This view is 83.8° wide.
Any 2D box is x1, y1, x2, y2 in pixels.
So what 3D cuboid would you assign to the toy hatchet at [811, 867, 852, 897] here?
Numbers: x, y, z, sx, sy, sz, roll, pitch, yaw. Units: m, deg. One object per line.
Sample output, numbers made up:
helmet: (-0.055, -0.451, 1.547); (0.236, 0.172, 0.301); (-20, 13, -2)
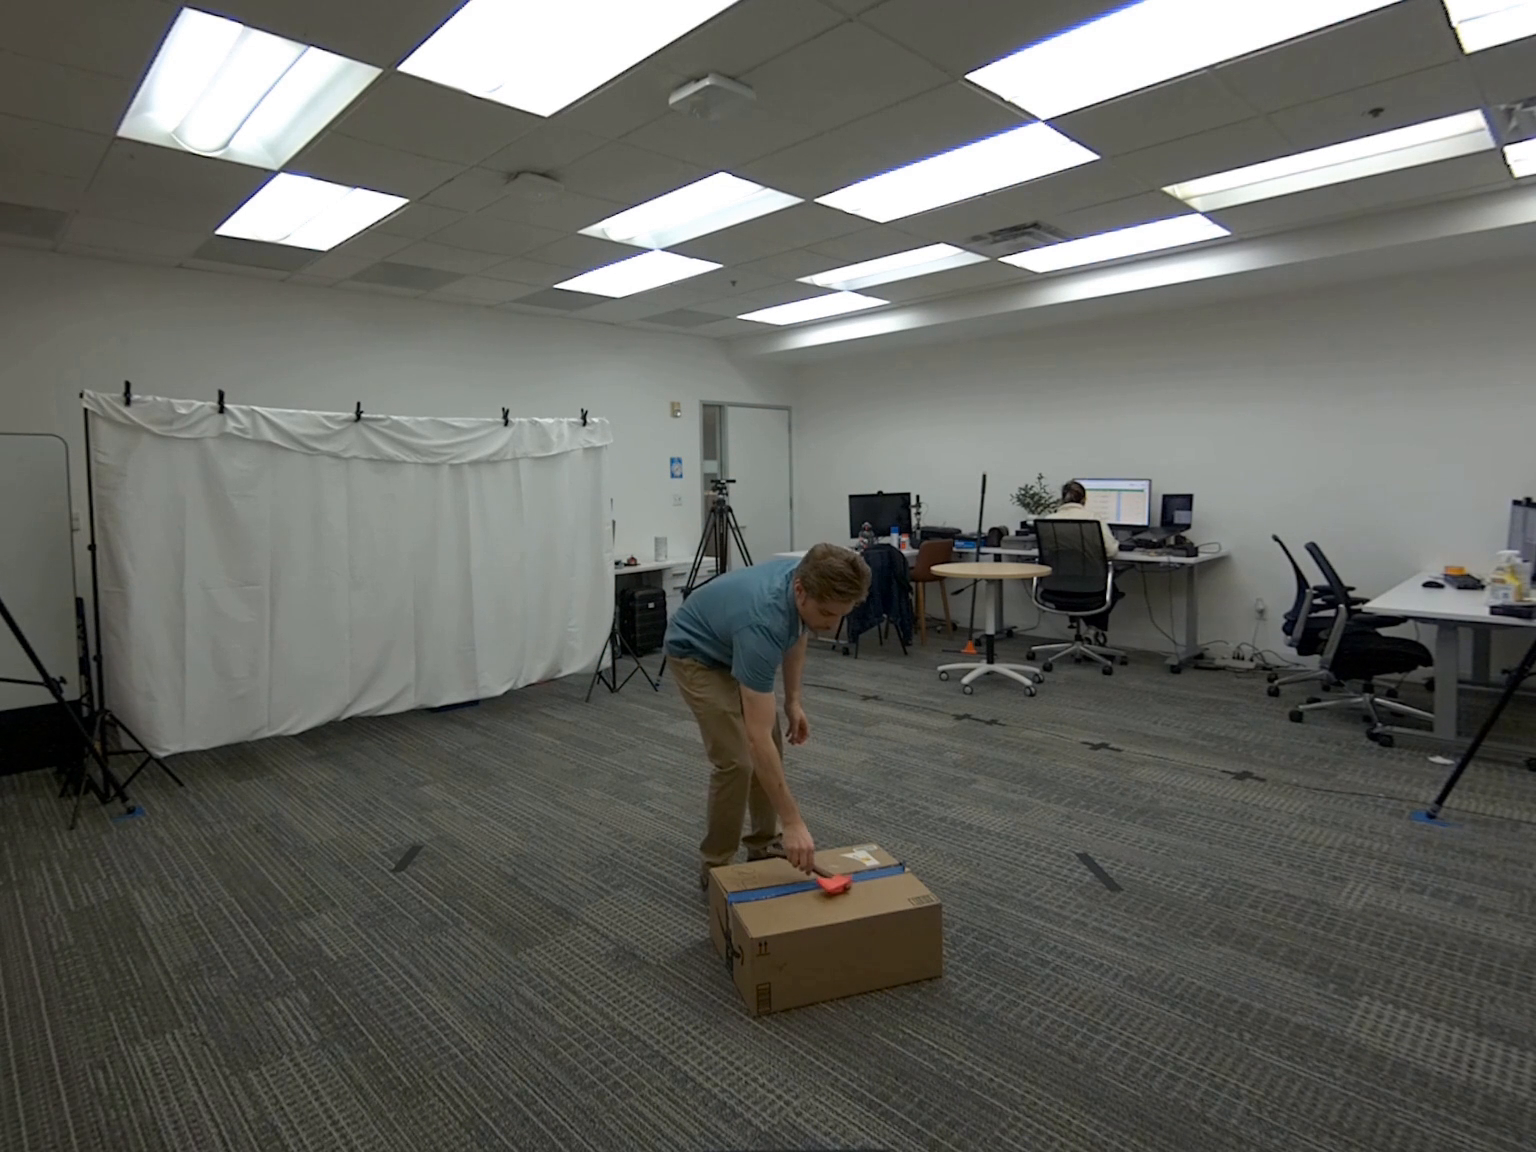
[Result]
toy hatchet: (0.111, 0.857, 2.474); (0.276, 0.029, 0.129); (10, 5, 19)
